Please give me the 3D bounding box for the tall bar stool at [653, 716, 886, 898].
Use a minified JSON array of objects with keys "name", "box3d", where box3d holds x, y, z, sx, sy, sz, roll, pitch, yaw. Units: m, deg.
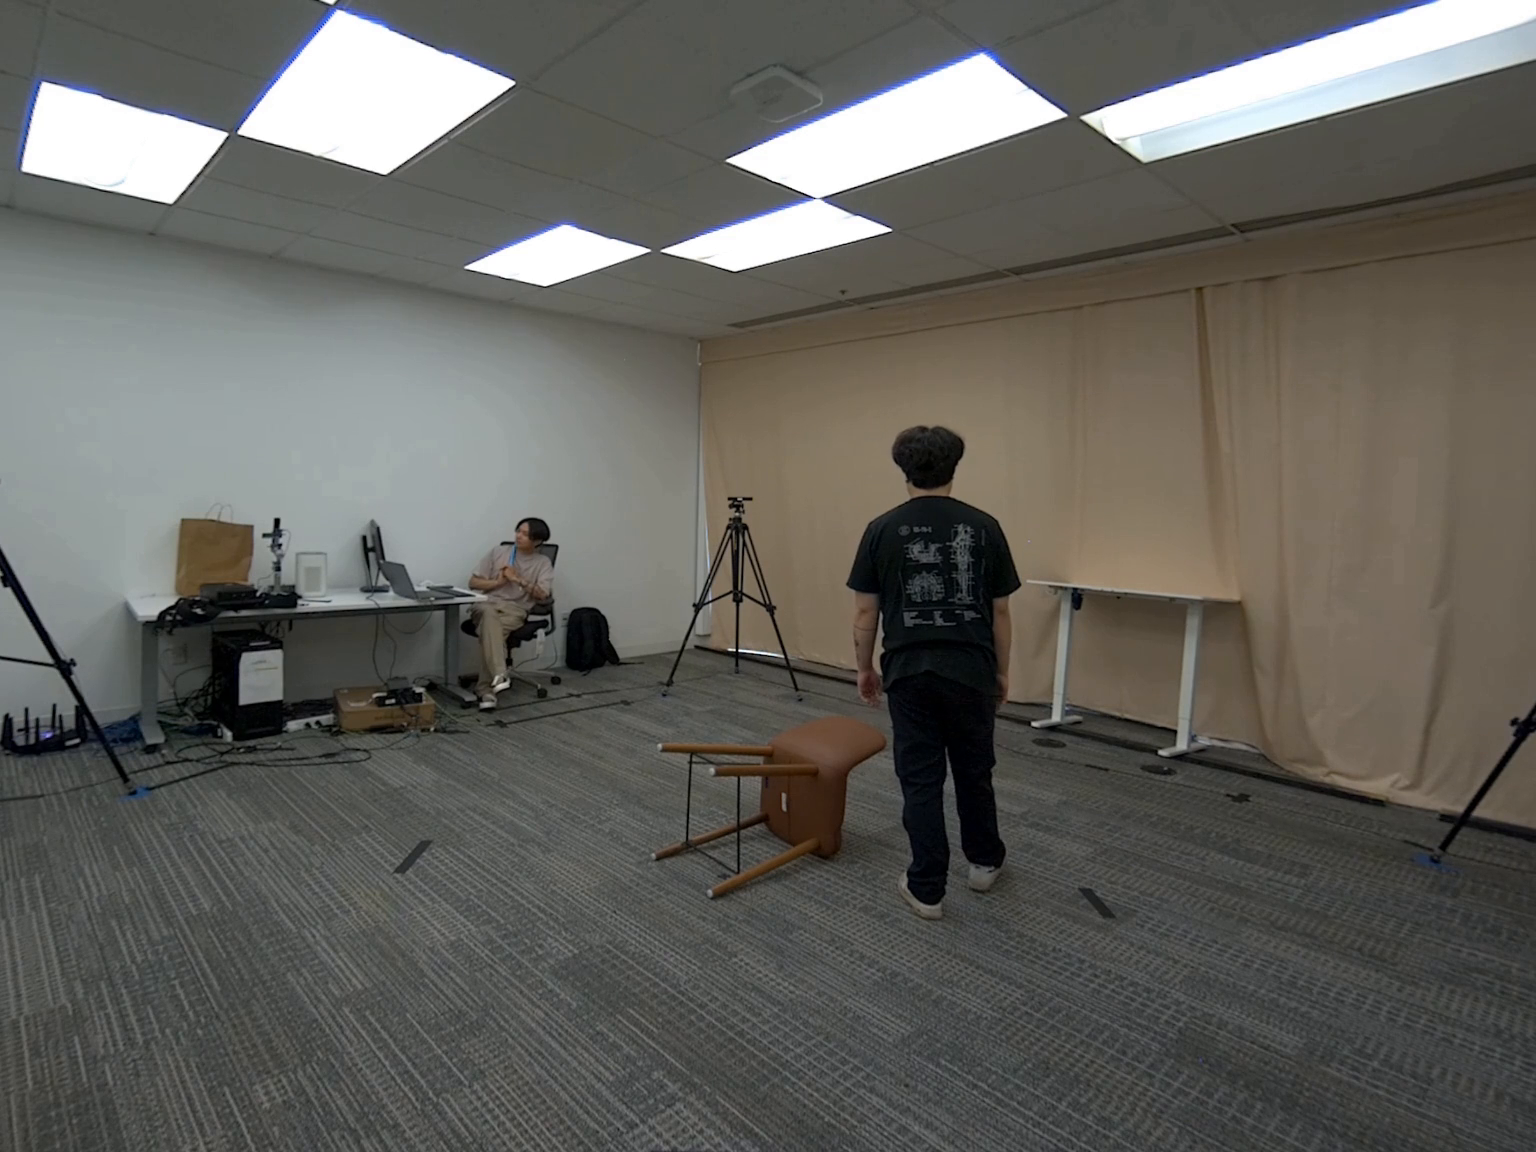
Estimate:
[{"name":"tall bar stool","box3d":[0.020,0.864,3.324,0.870,0.466,0.468,-3,5,-37]}]
